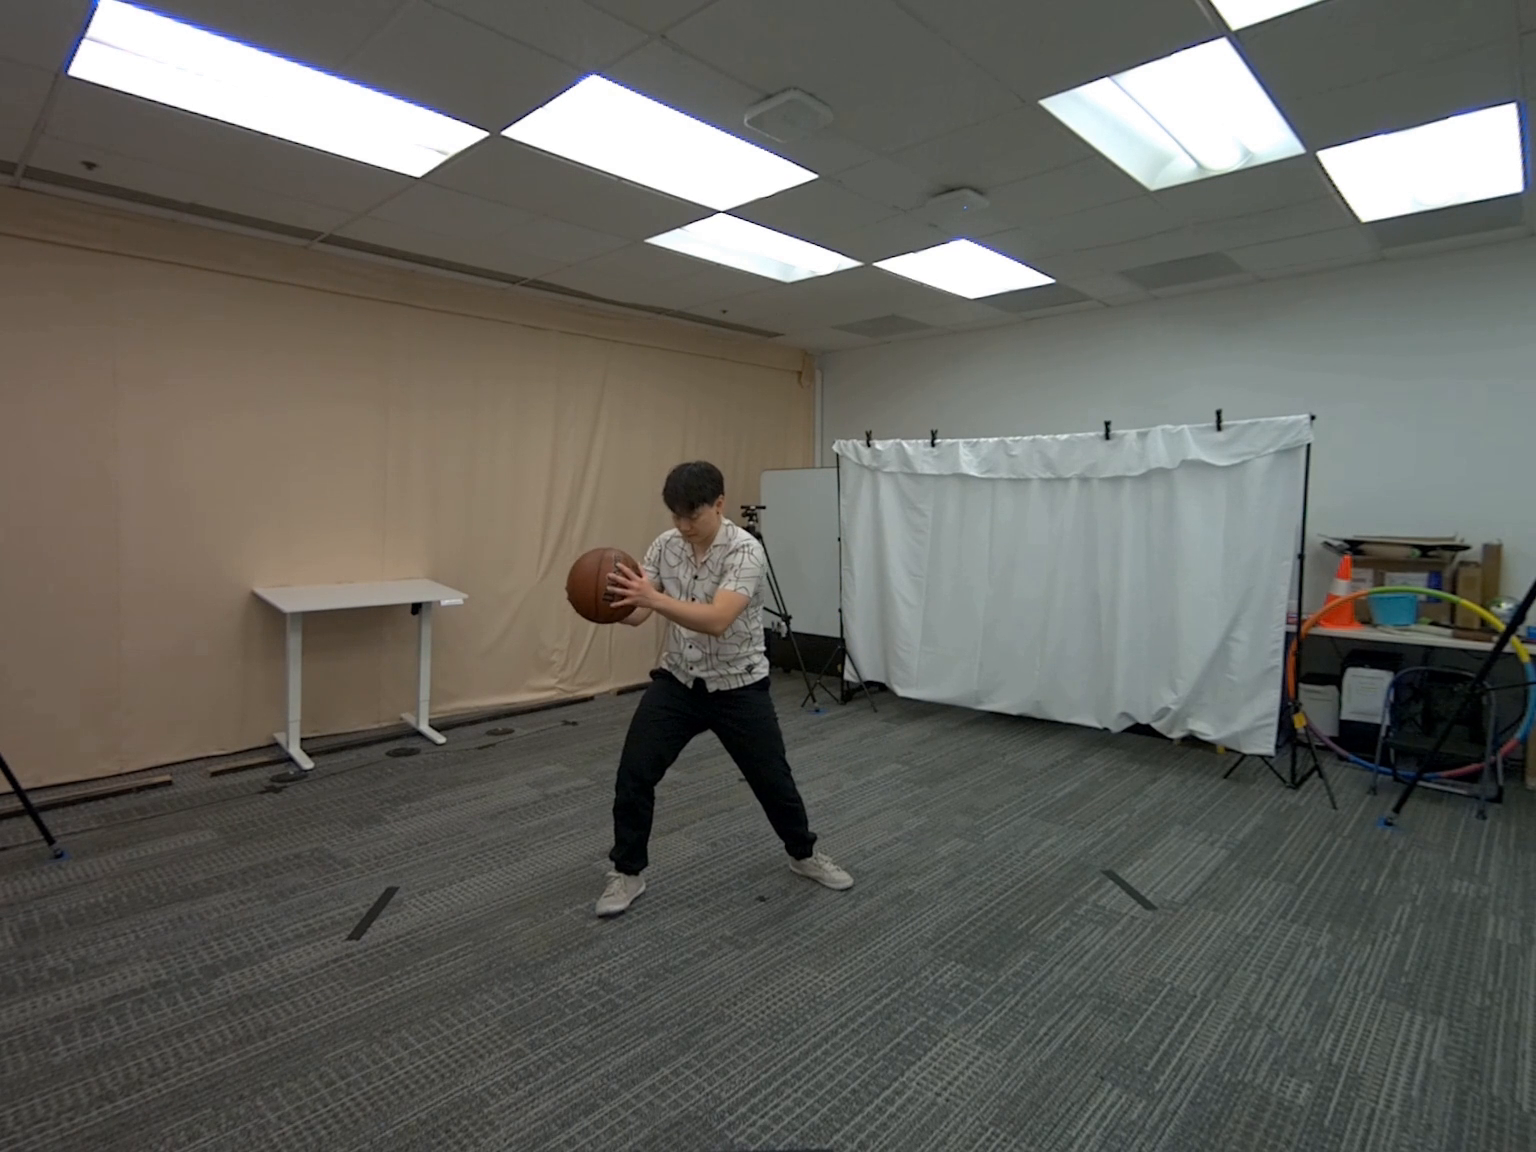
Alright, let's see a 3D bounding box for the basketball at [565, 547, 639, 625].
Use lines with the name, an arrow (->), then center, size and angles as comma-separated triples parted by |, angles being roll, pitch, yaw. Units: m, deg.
basketball -> -0.501, 0.035, 2.616 | 0.236, 0.235, 0.237 | 0, 4, -2
